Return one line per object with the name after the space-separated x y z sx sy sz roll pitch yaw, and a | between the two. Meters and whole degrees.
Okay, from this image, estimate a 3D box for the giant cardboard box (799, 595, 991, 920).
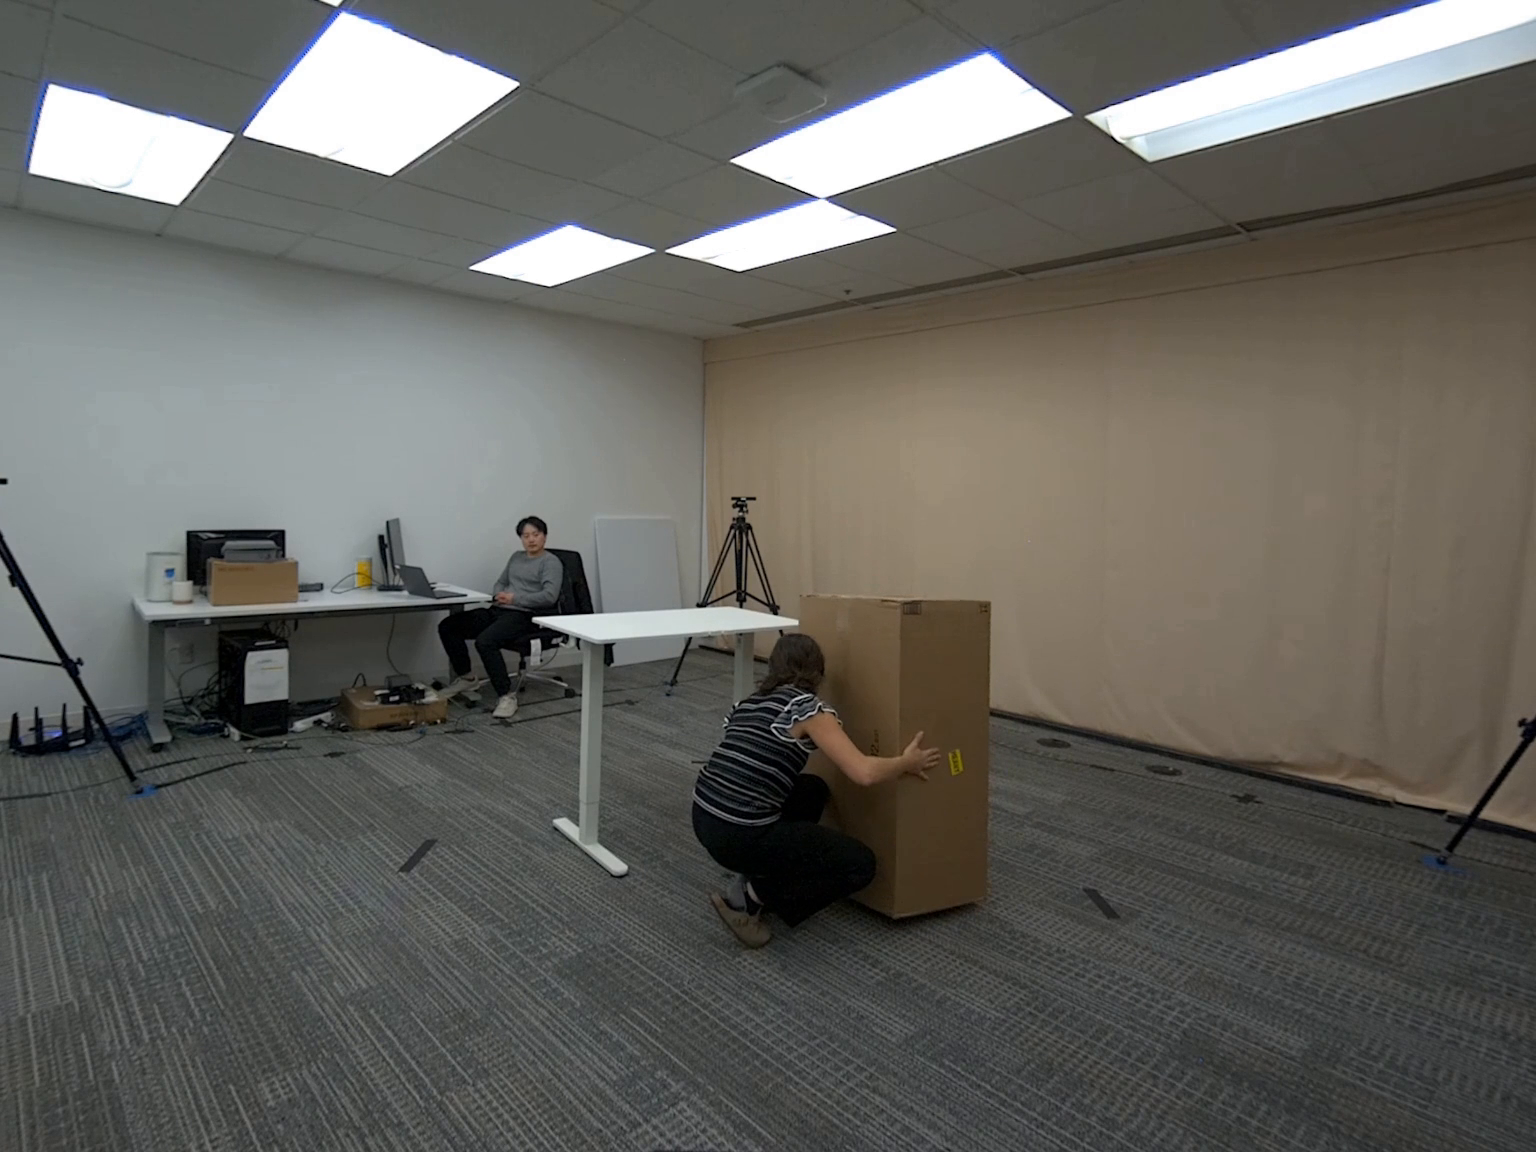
0.436 0.591 3.060 0.417 1.027 0.589 3 -2 -32 | giant cardboard box
